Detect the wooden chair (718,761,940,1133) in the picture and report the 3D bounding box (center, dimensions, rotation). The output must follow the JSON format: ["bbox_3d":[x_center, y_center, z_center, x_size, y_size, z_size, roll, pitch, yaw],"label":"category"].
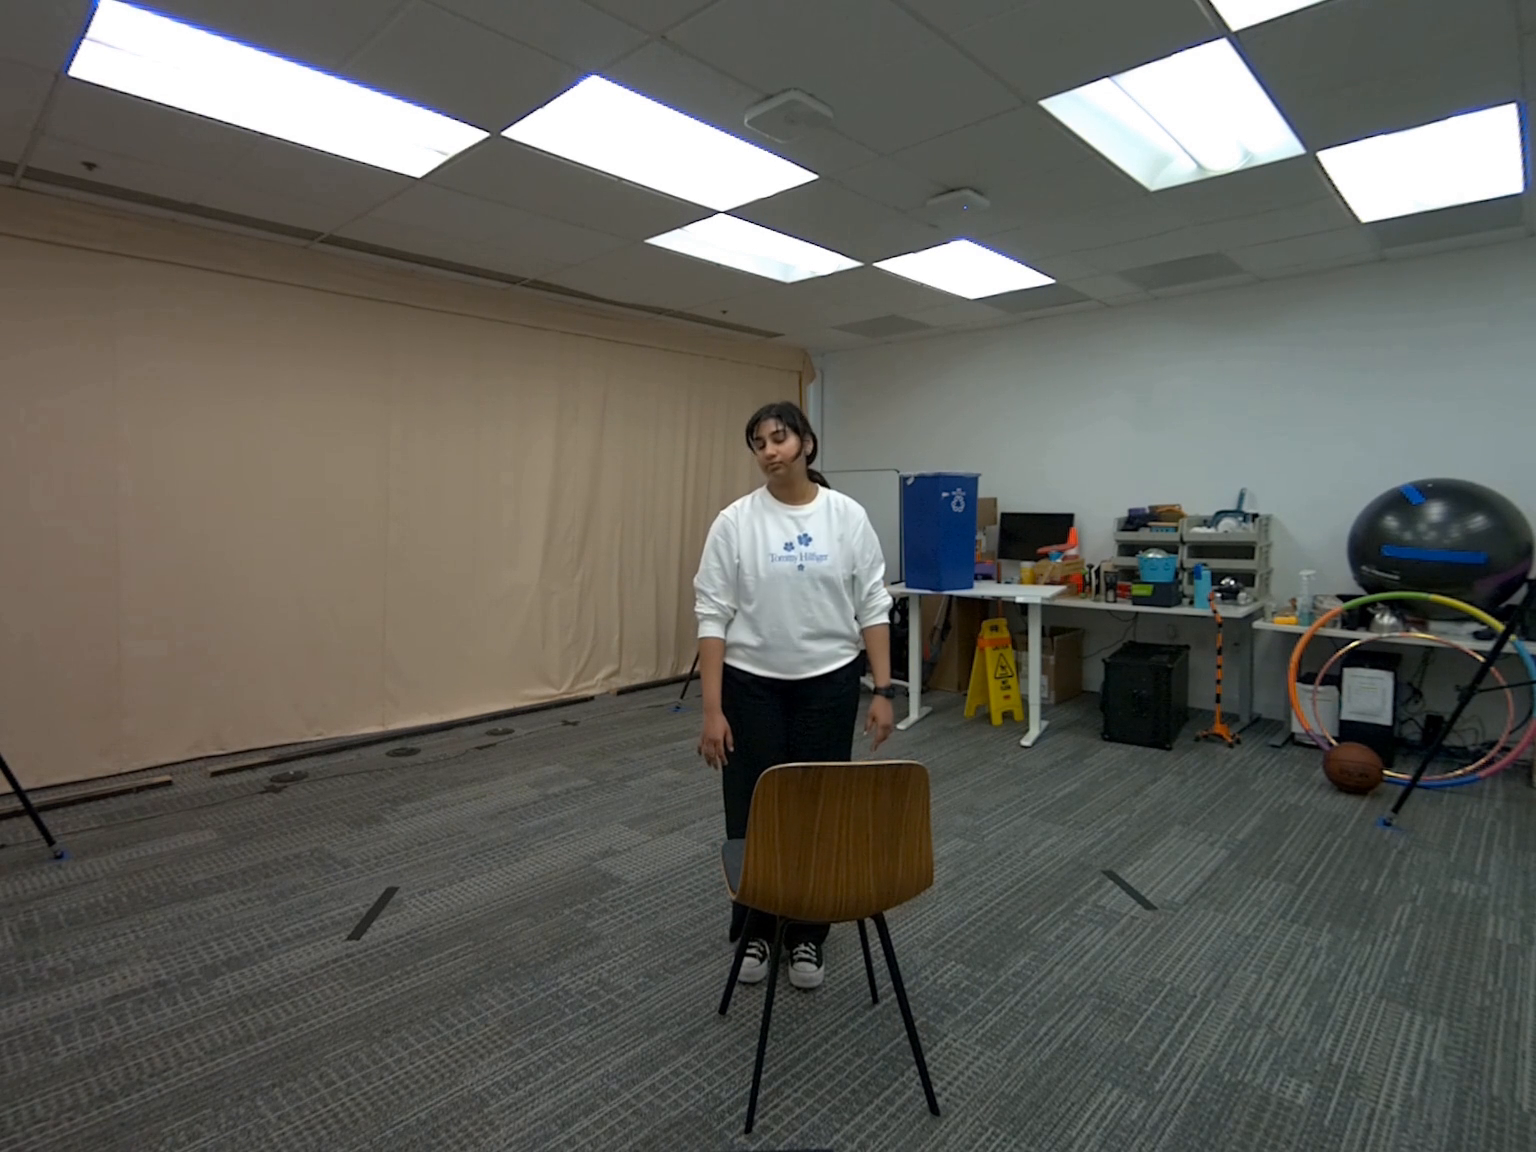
[{"bbox_3d":[0.134,0.787,2.098,0.474,0.873,0.530,-1,8,-9],"label":"wooden chair"}]
